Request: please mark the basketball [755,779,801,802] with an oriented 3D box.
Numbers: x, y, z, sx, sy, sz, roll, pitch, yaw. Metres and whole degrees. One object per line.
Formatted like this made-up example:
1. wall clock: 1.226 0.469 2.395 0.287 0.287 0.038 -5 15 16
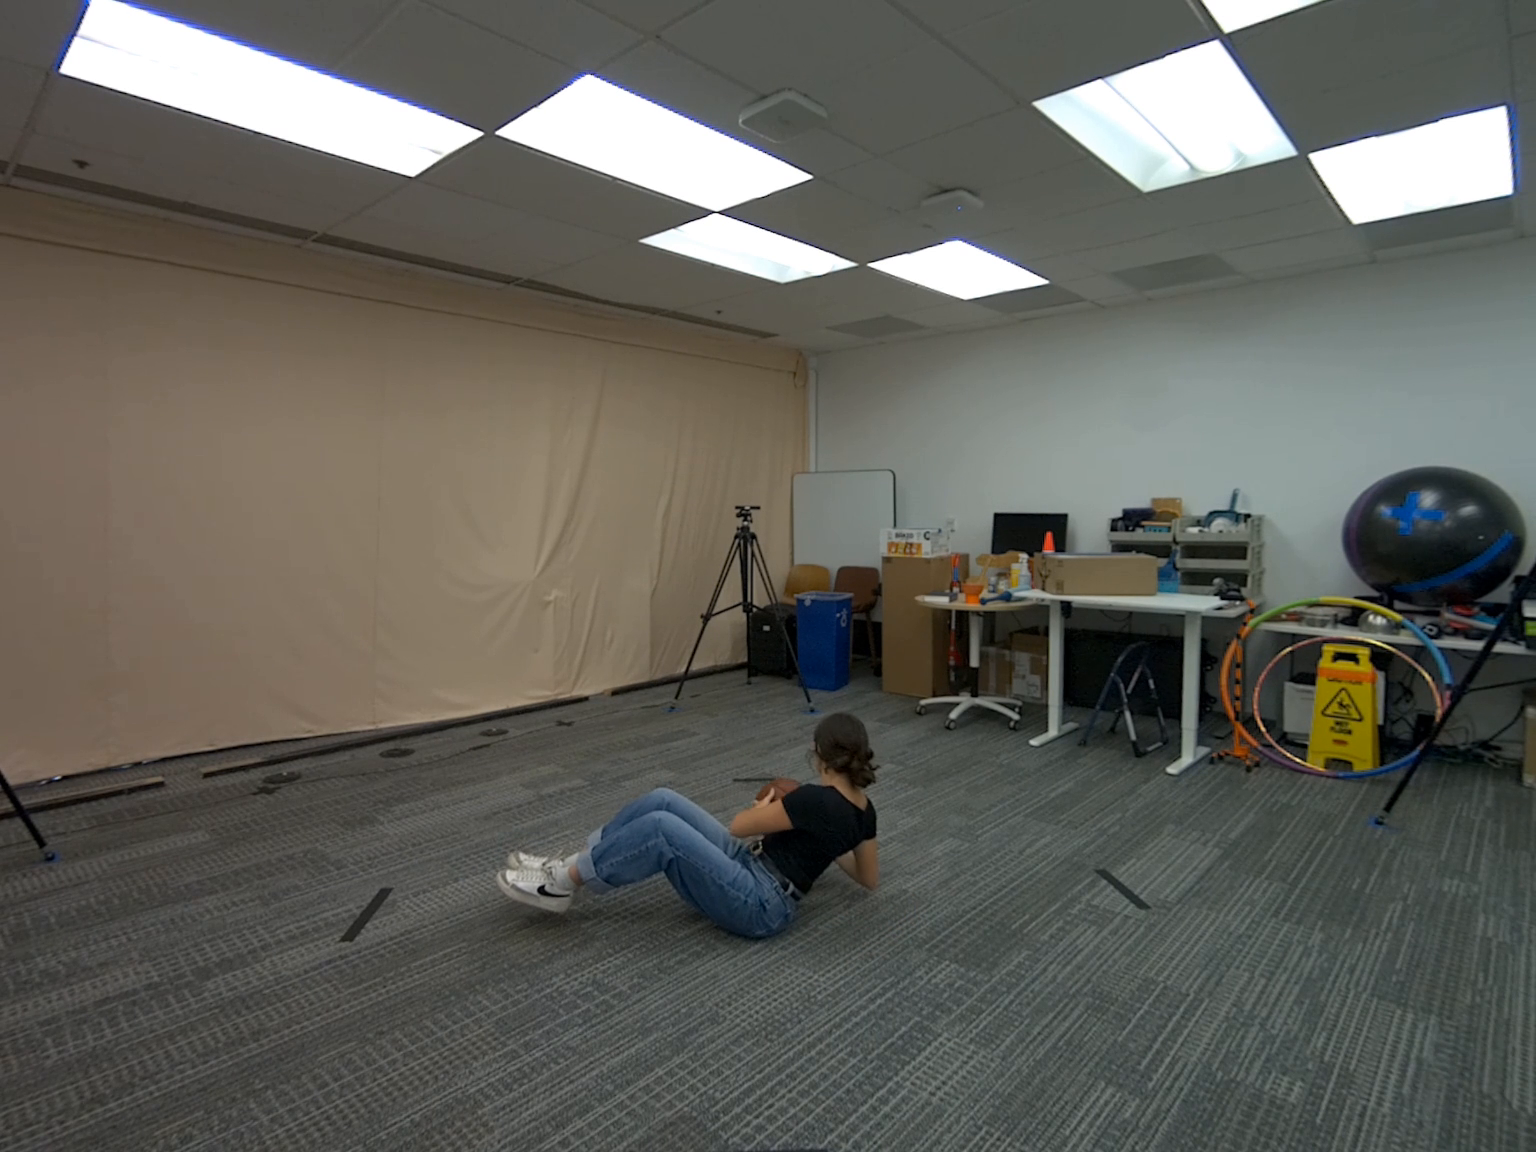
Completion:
1. basketball: 0.066 0.880 3.158 0.236 0.235 0.237 0 4 -2
